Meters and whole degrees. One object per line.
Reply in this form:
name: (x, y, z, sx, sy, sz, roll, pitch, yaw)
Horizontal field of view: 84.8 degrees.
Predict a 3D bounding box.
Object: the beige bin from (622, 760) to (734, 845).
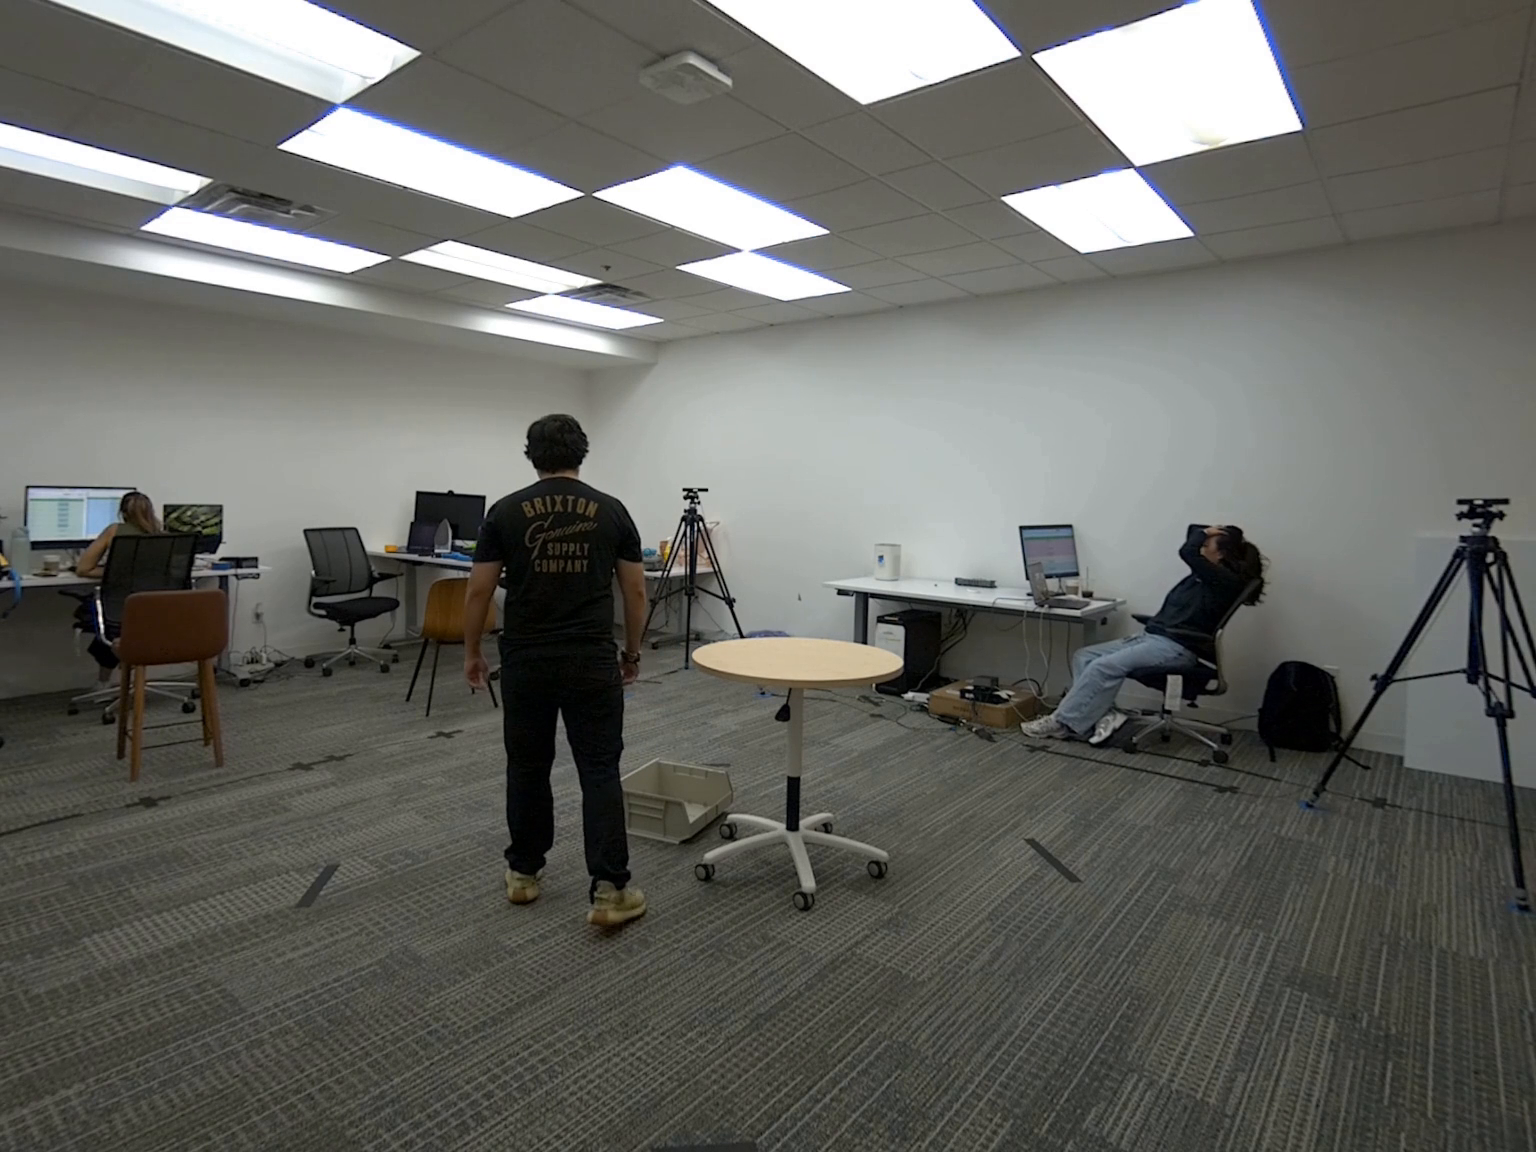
beige bin: (-0.409, 0.934, 3.566, 0.387, 0.188, 0.414, 2, 6, 24)
